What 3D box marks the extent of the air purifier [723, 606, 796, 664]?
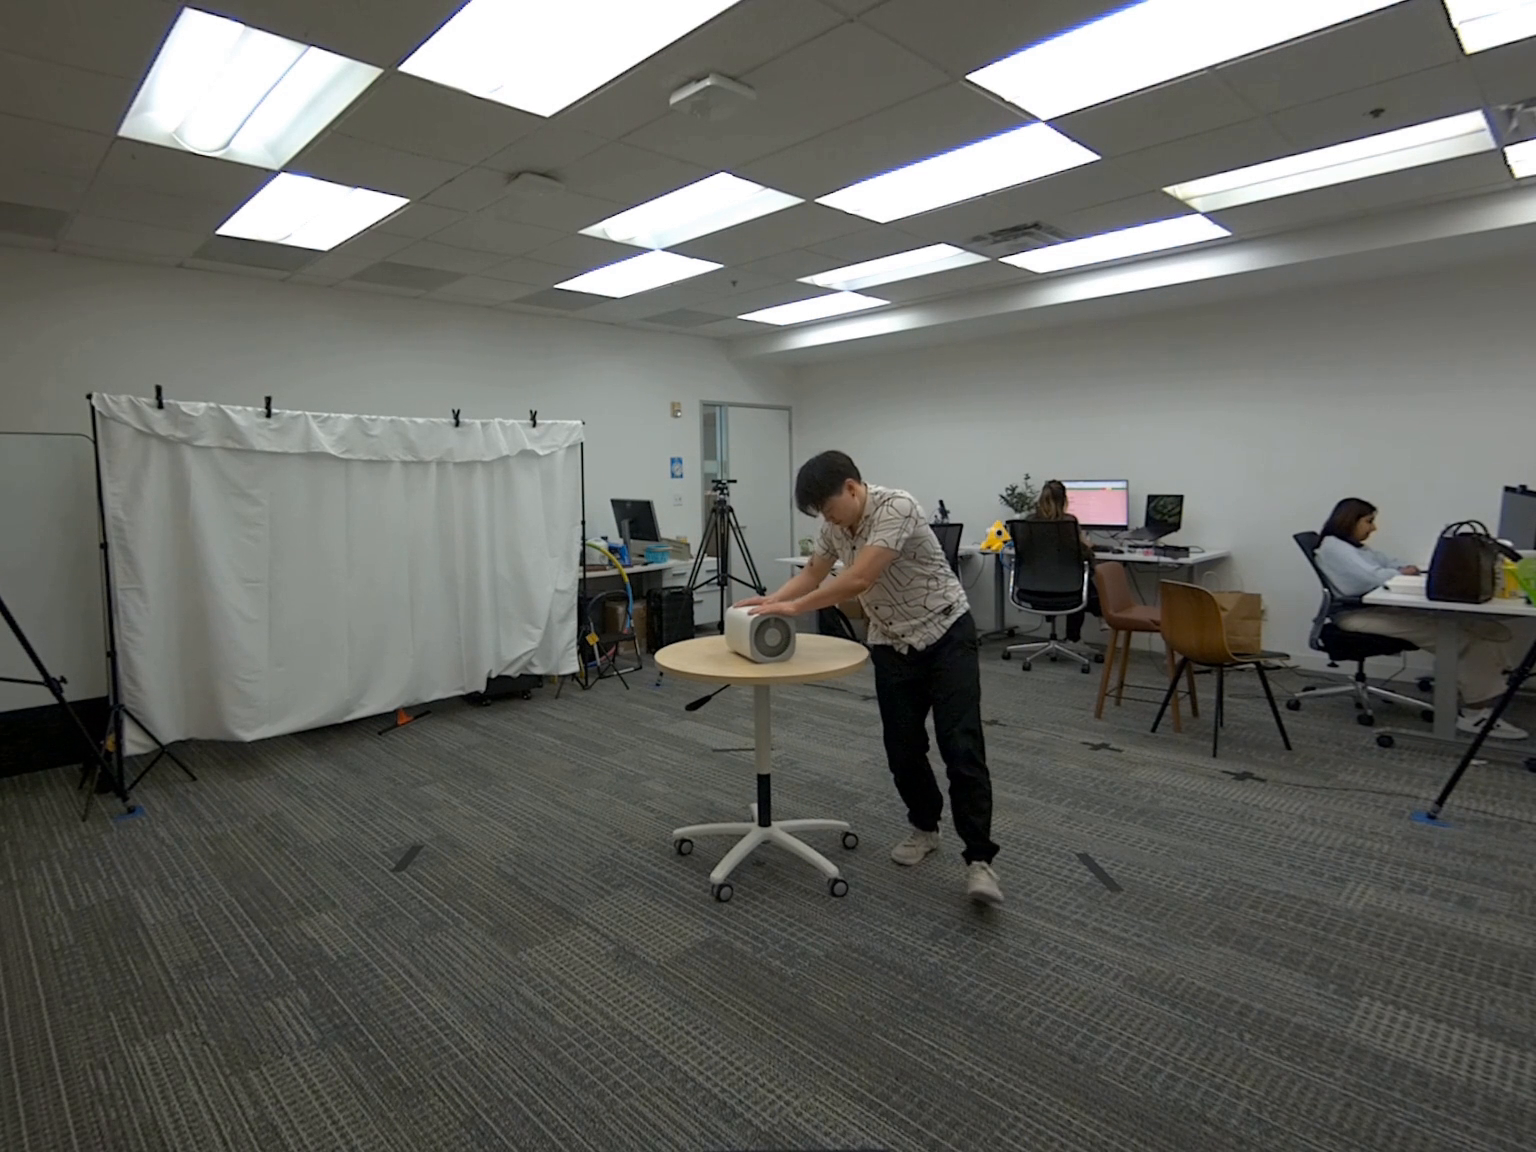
[{"bbox_3d":[-0.032,0.191,3.015,0.168,0.171,0.271,-4,6,-21],"label":"air purifier"}]
